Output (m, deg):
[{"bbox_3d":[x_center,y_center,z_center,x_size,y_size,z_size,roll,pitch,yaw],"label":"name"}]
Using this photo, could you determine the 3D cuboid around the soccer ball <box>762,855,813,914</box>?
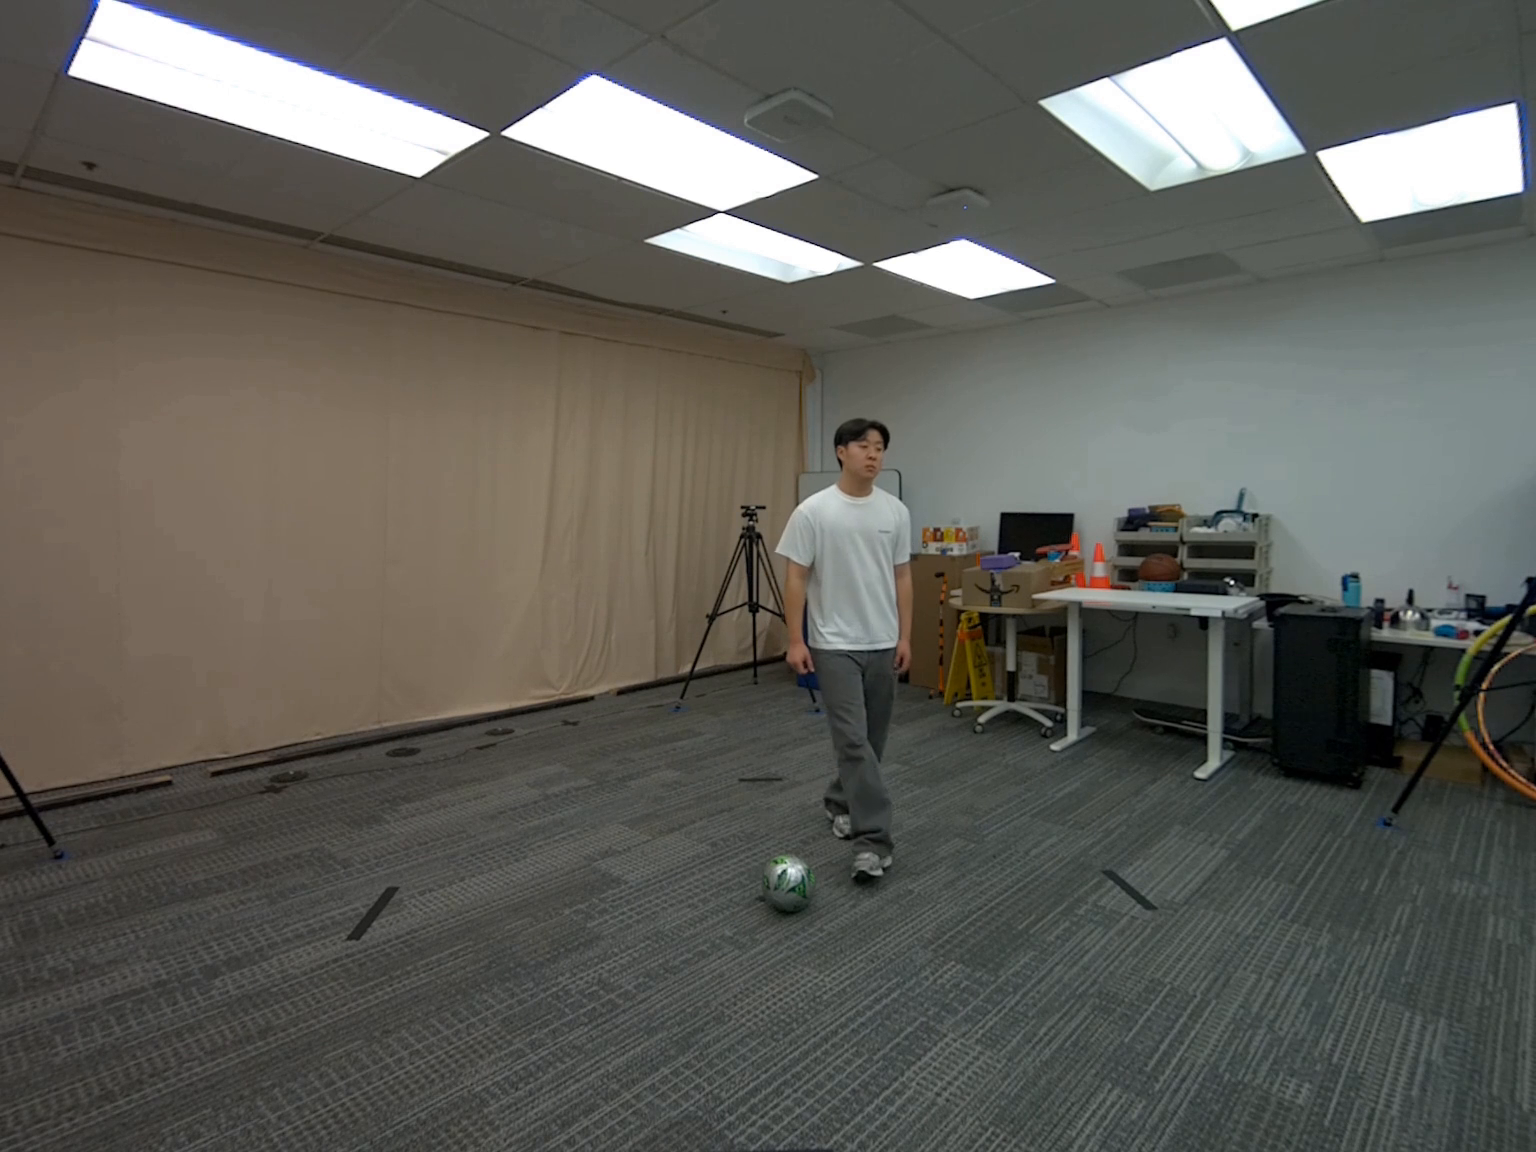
[{"bbox_3d":[0.076,1.057,2.903,0.187,0.187,0.188,0,4,-2],"label":"soccer ball"}]
